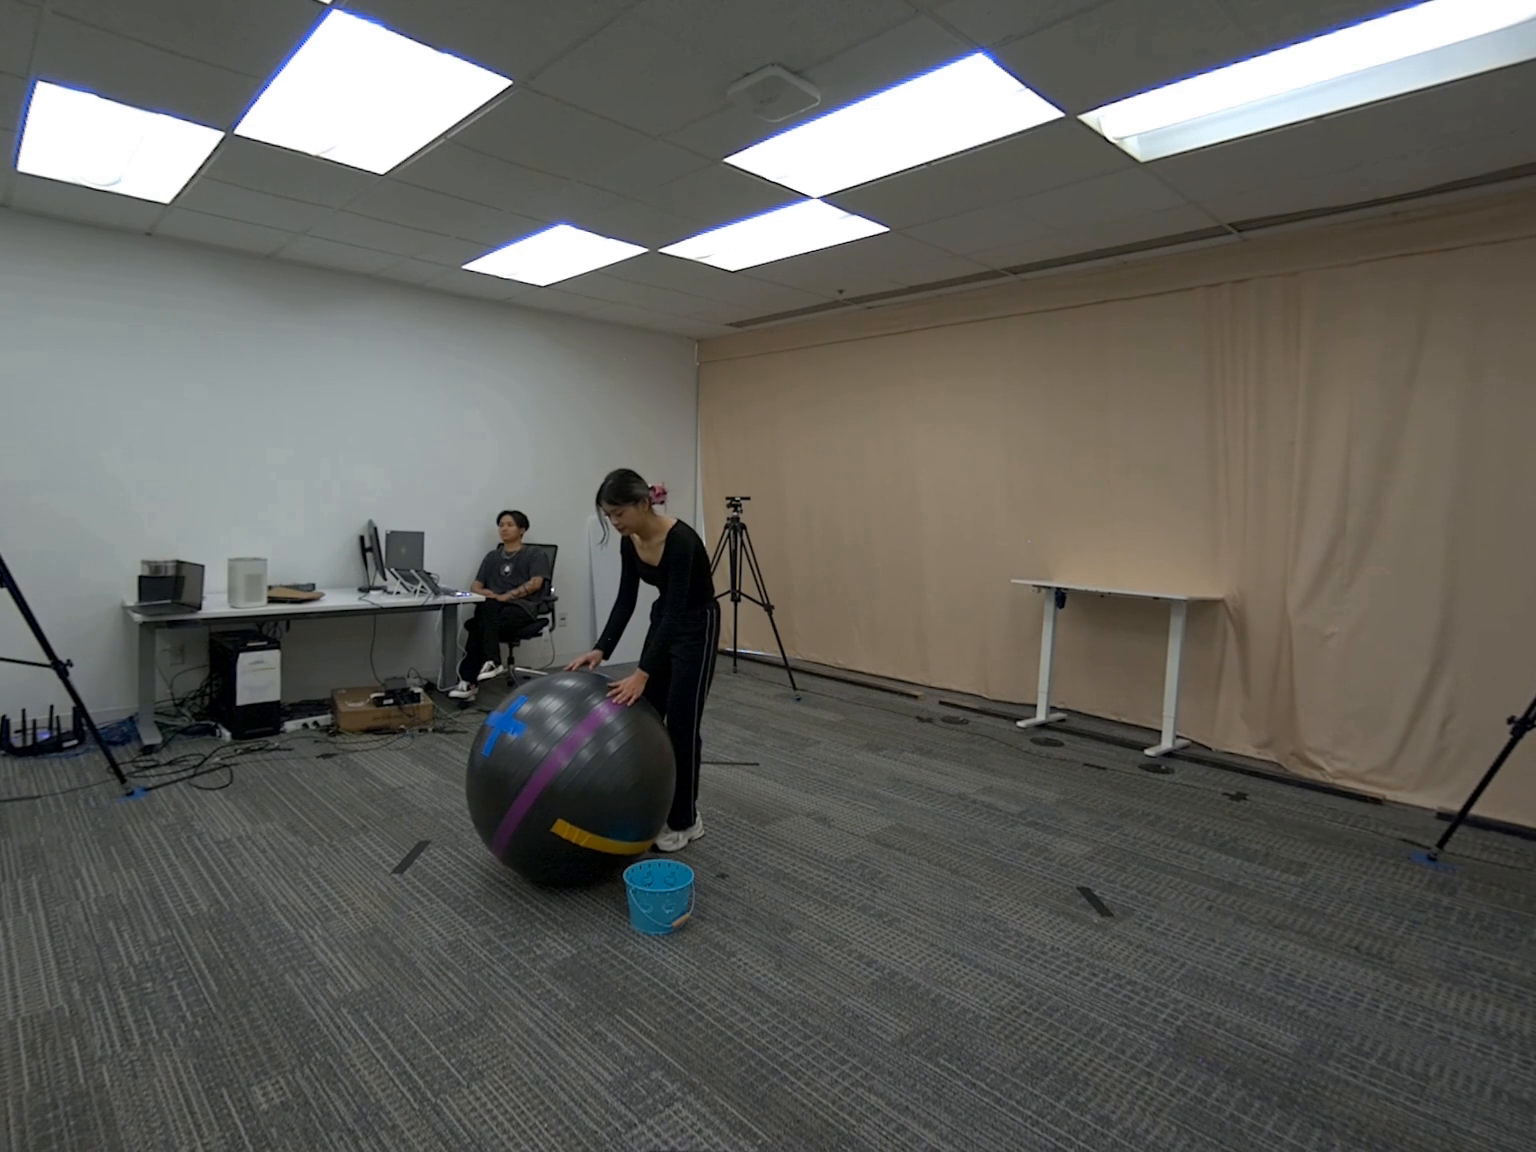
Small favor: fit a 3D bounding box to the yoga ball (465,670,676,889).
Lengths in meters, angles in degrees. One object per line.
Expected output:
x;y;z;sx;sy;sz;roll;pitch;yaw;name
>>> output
-0.721;0.732;3.079;0.757;0.756;0.761;1;4;-1;yoga ball
